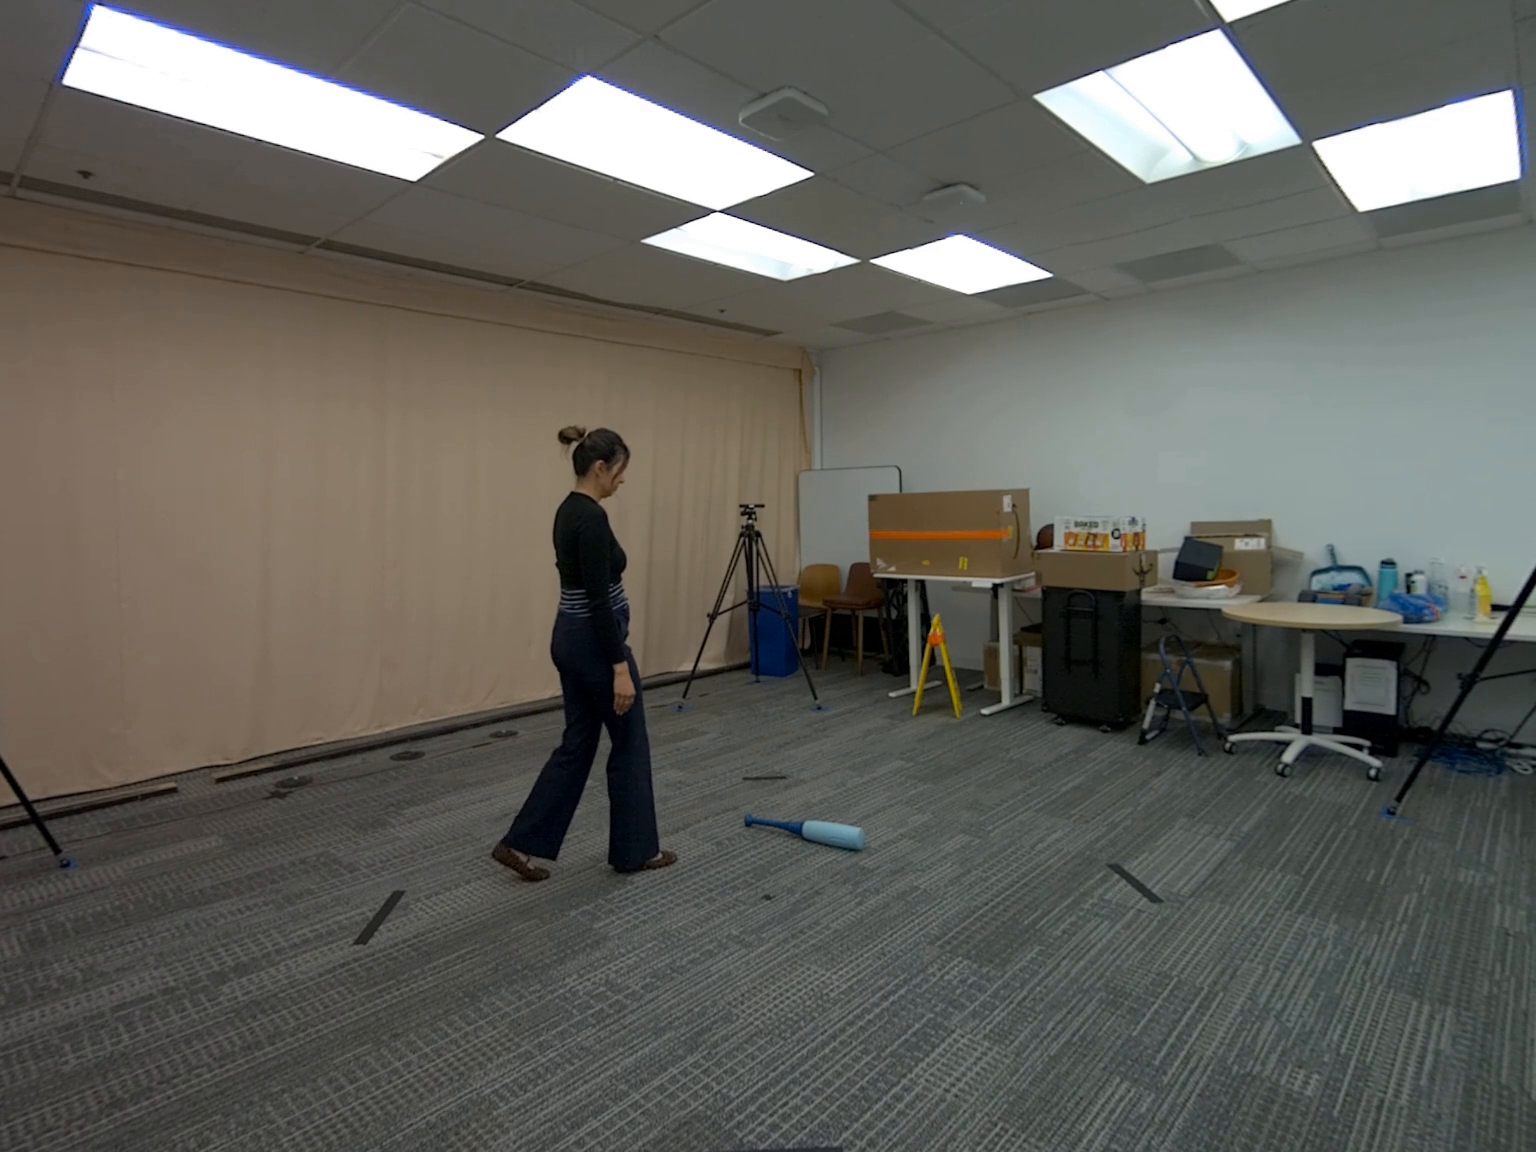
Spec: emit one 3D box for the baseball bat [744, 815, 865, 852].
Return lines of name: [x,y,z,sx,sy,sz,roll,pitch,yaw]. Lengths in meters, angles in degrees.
baseball bat: [0.147,1.057,3.507,0.558,0.089,0.087,-2,3,32]
